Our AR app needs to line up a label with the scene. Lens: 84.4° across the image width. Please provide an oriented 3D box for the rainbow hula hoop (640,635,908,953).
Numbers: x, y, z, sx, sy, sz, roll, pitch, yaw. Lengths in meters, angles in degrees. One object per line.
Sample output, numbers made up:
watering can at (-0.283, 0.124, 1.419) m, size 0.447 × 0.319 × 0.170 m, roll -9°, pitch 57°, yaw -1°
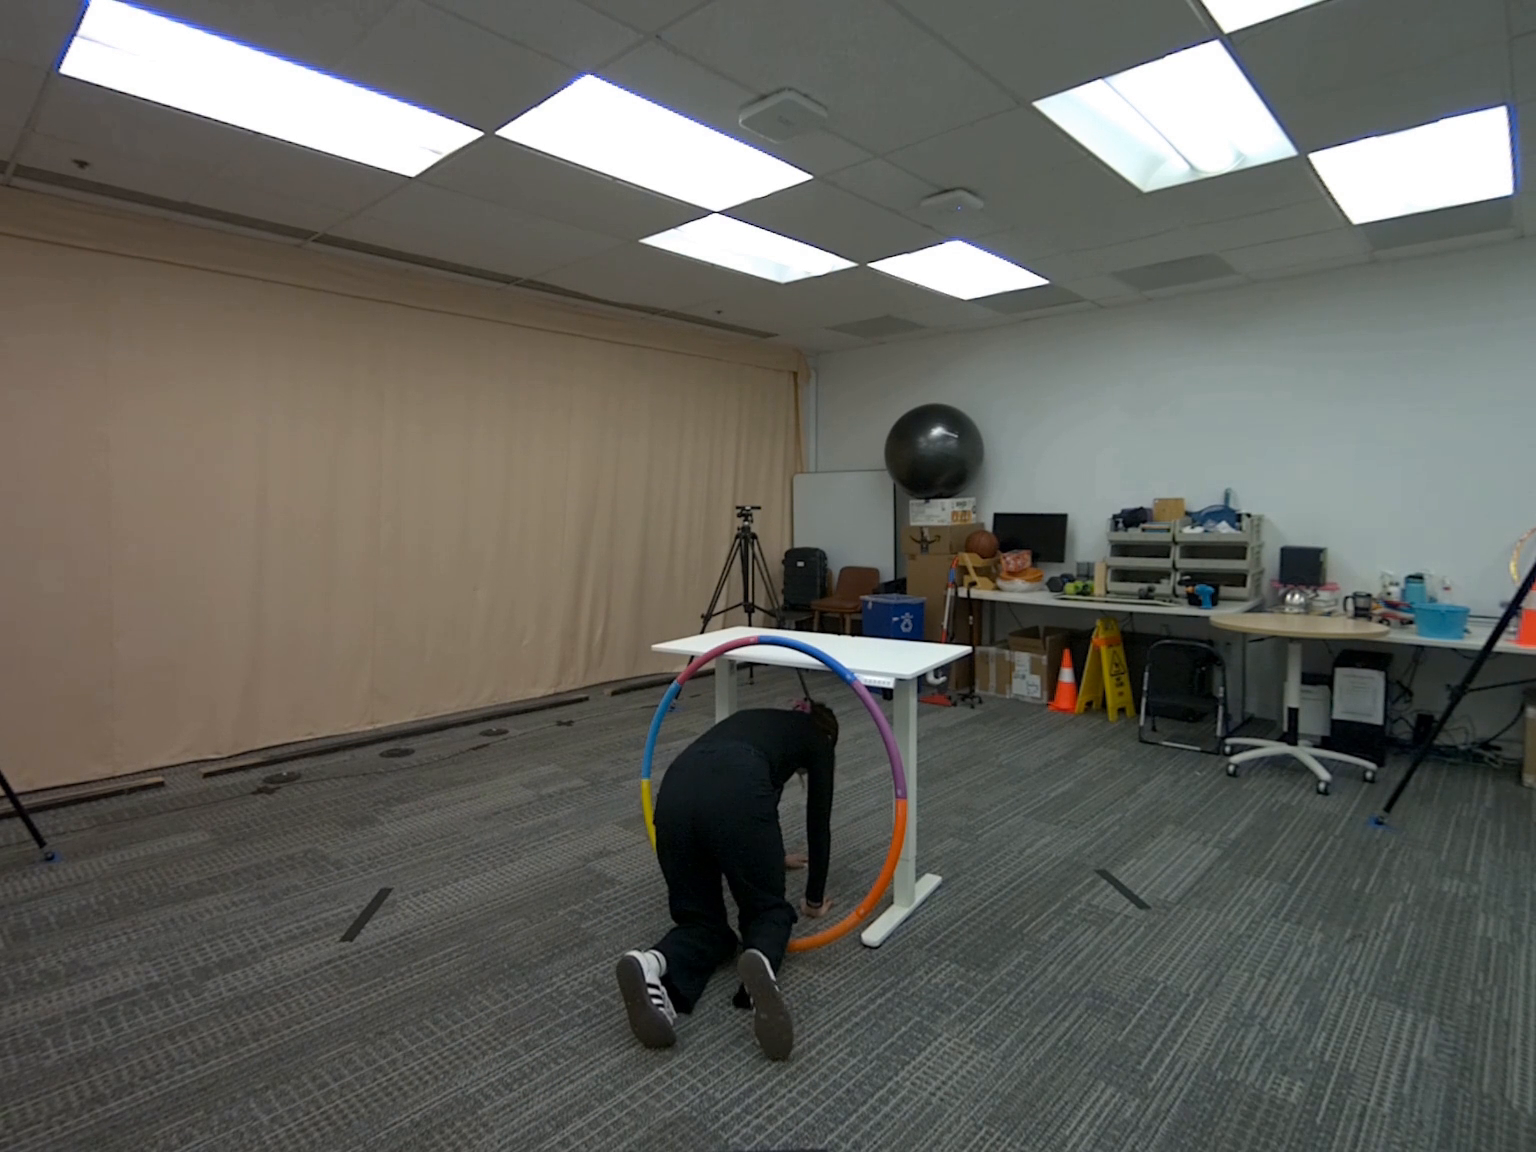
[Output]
rainbow hula hoop at (-0.020, 0.680, 2.731) m, size 1.009 × 0.982 × 0.034 m, roll 2°, pitch -8°, yaw 34°
